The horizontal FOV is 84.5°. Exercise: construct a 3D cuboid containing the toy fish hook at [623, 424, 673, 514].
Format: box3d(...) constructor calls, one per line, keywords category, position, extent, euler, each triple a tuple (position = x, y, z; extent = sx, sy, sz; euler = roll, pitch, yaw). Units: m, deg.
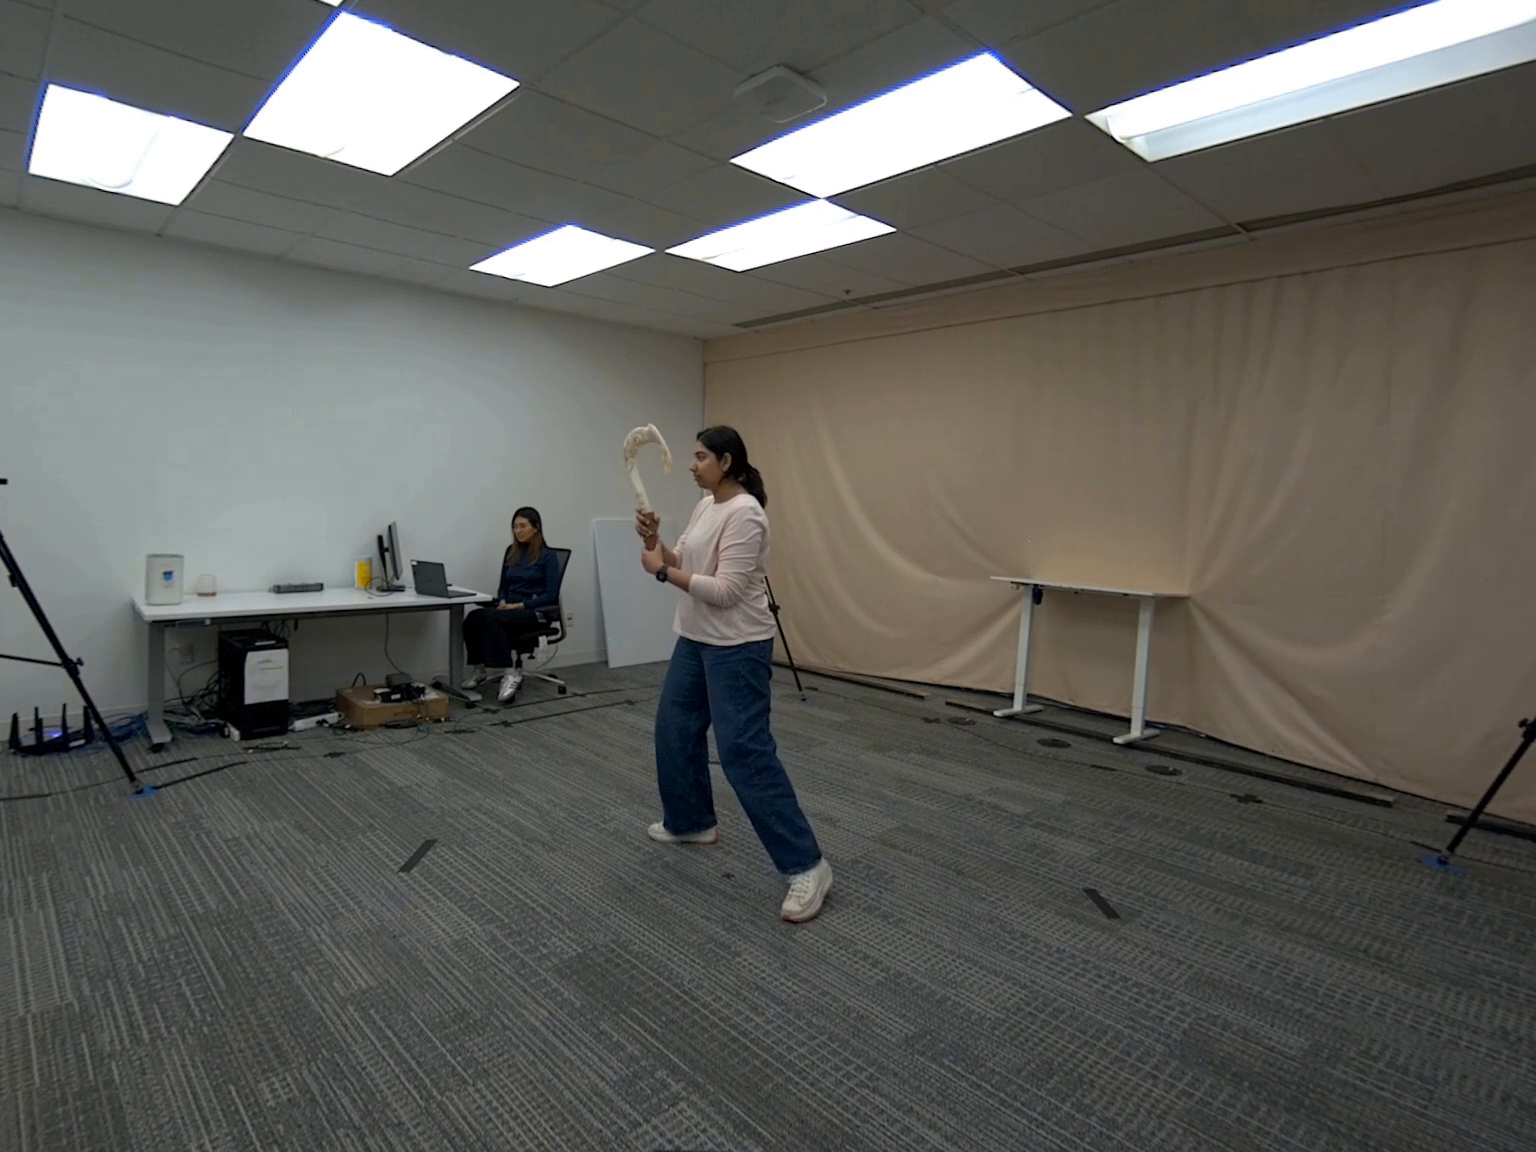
box3d(category="toy fish hook", position=(-0.418, -0.288, 3.021), extent=(0.229, 0.505, 0.047), euler=(-7, 4, 41))
